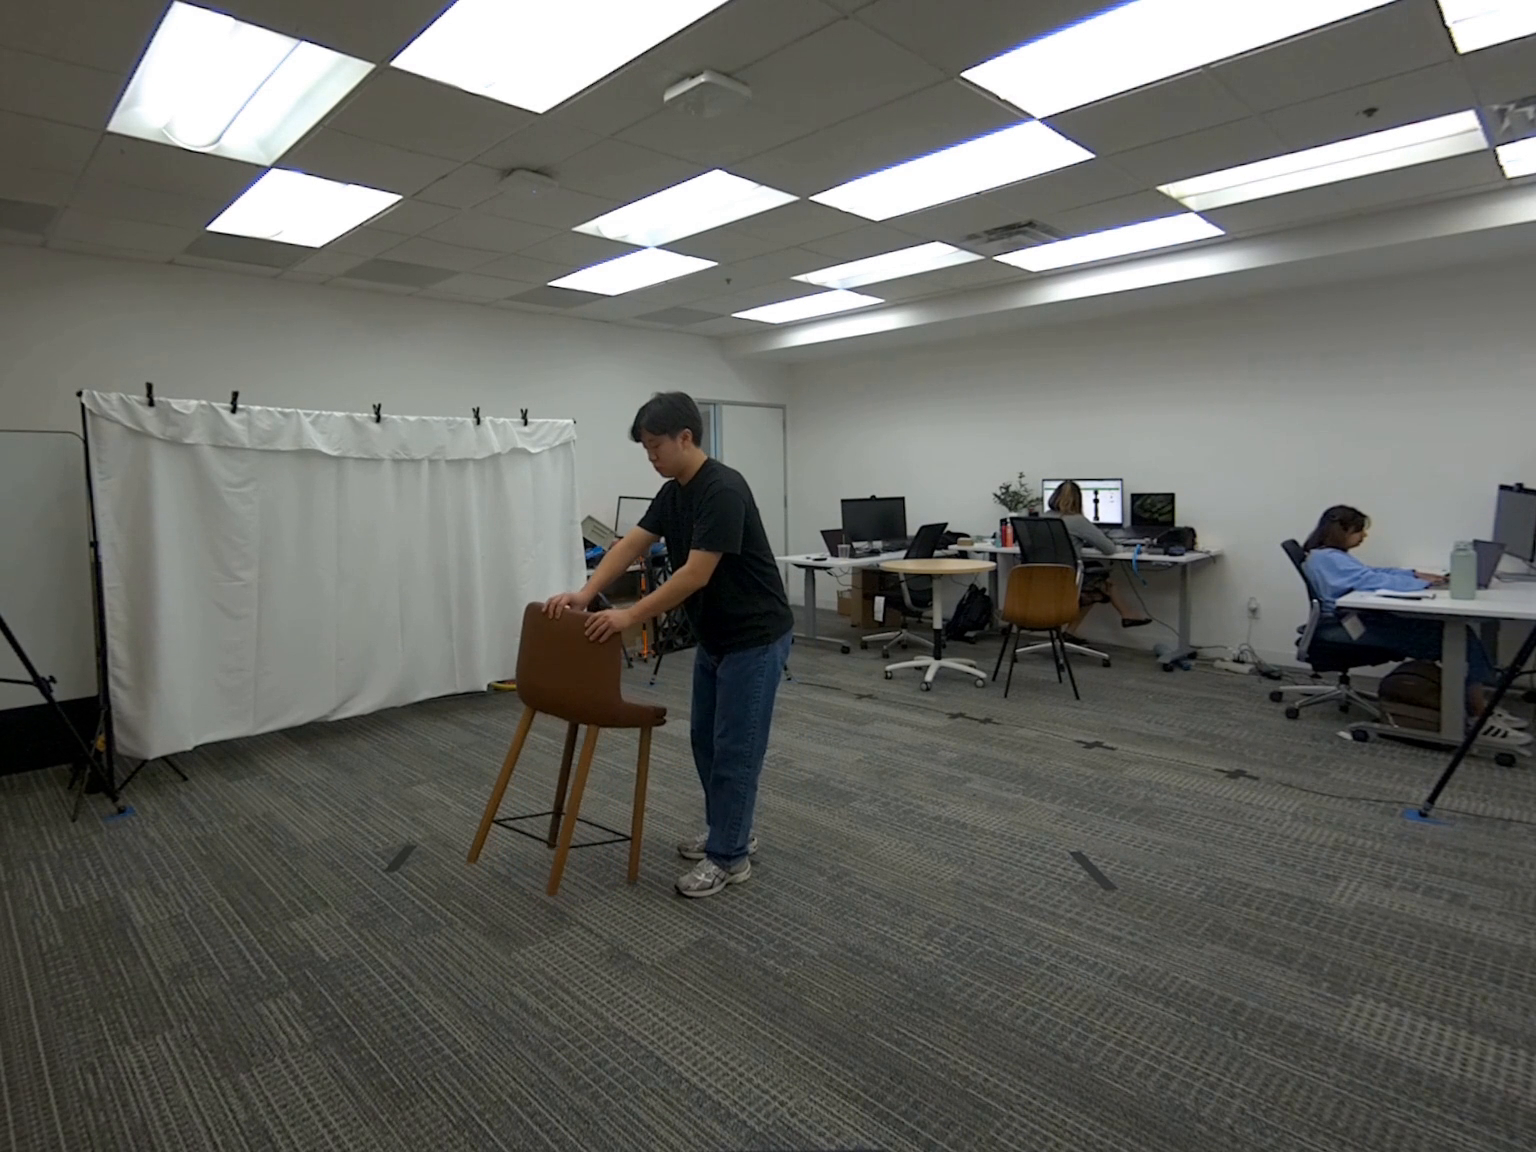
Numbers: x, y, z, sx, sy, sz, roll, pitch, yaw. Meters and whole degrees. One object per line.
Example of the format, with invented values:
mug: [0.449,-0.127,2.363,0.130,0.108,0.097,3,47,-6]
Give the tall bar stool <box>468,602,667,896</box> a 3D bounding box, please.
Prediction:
tall bar stool: [-0.647,0.576,2.941,0.469,0.894,0.452,7,-7,30]
